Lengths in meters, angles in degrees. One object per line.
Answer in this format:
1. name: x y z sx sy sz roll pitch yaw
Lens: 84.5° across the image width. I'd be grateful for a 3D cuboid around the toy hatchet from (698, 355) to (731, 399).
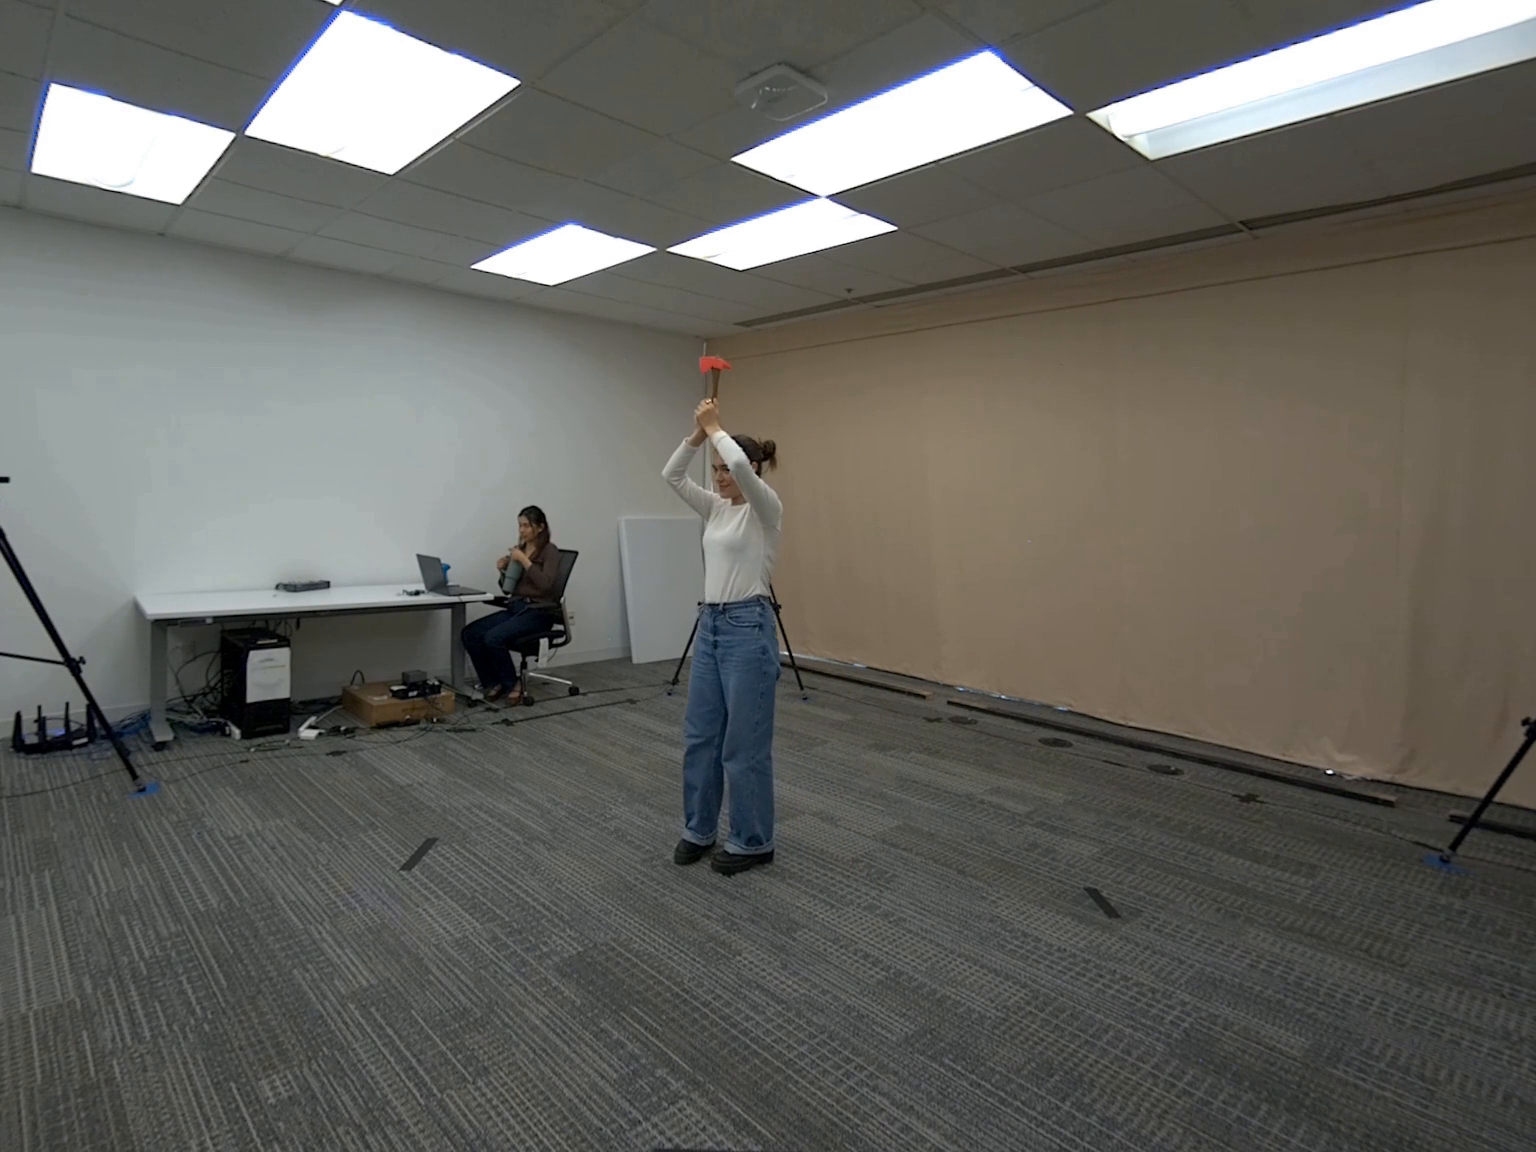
1. toy hatchet: -0.236 -0.707 3.134 0.128 0.272 0.030 30 -20 -25
